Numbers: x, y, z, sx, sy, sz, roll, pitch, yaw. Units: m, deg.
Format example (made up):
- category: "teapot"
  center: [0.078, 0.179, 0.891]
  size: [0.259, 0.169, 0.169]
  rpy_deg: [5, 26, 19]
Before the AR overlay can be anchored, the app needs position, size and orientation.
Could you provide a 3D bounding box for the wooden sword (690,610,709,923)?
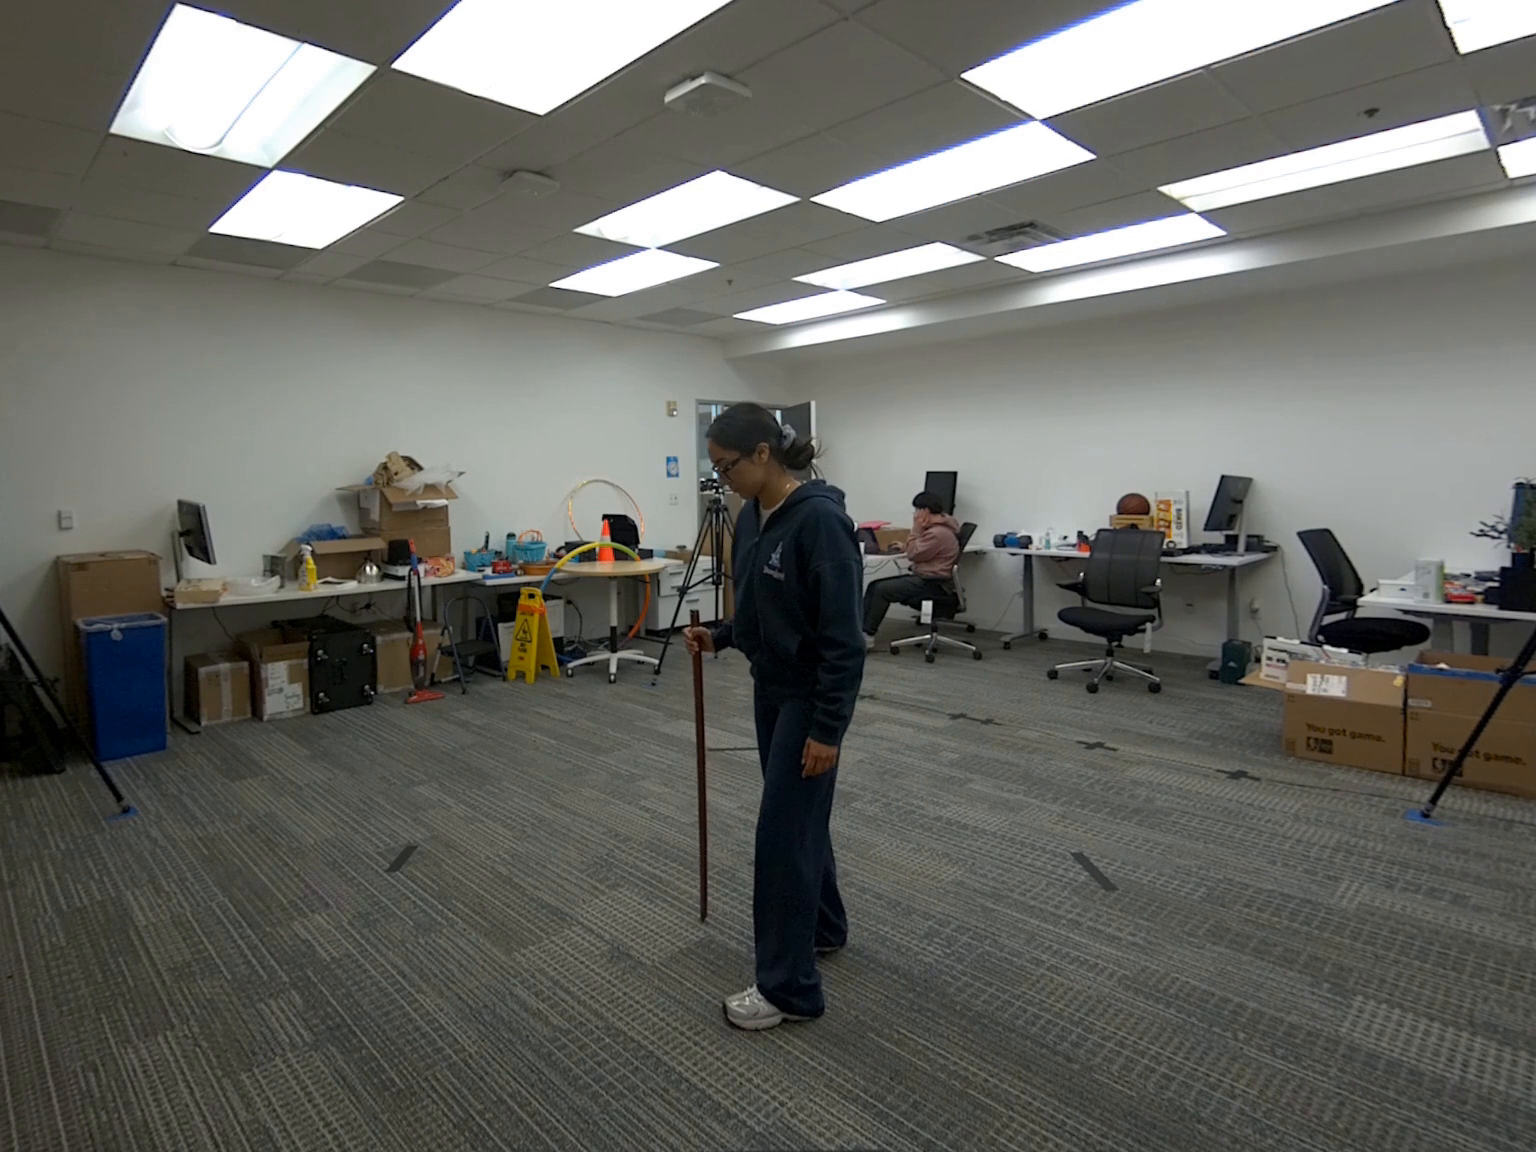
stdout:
- category: "wooden sword"
  center: [-0.207, 0.606, 2.601]
  size: [0.052, 1.013, 0.024]
  rpy_deg: [1, 13, 21]
